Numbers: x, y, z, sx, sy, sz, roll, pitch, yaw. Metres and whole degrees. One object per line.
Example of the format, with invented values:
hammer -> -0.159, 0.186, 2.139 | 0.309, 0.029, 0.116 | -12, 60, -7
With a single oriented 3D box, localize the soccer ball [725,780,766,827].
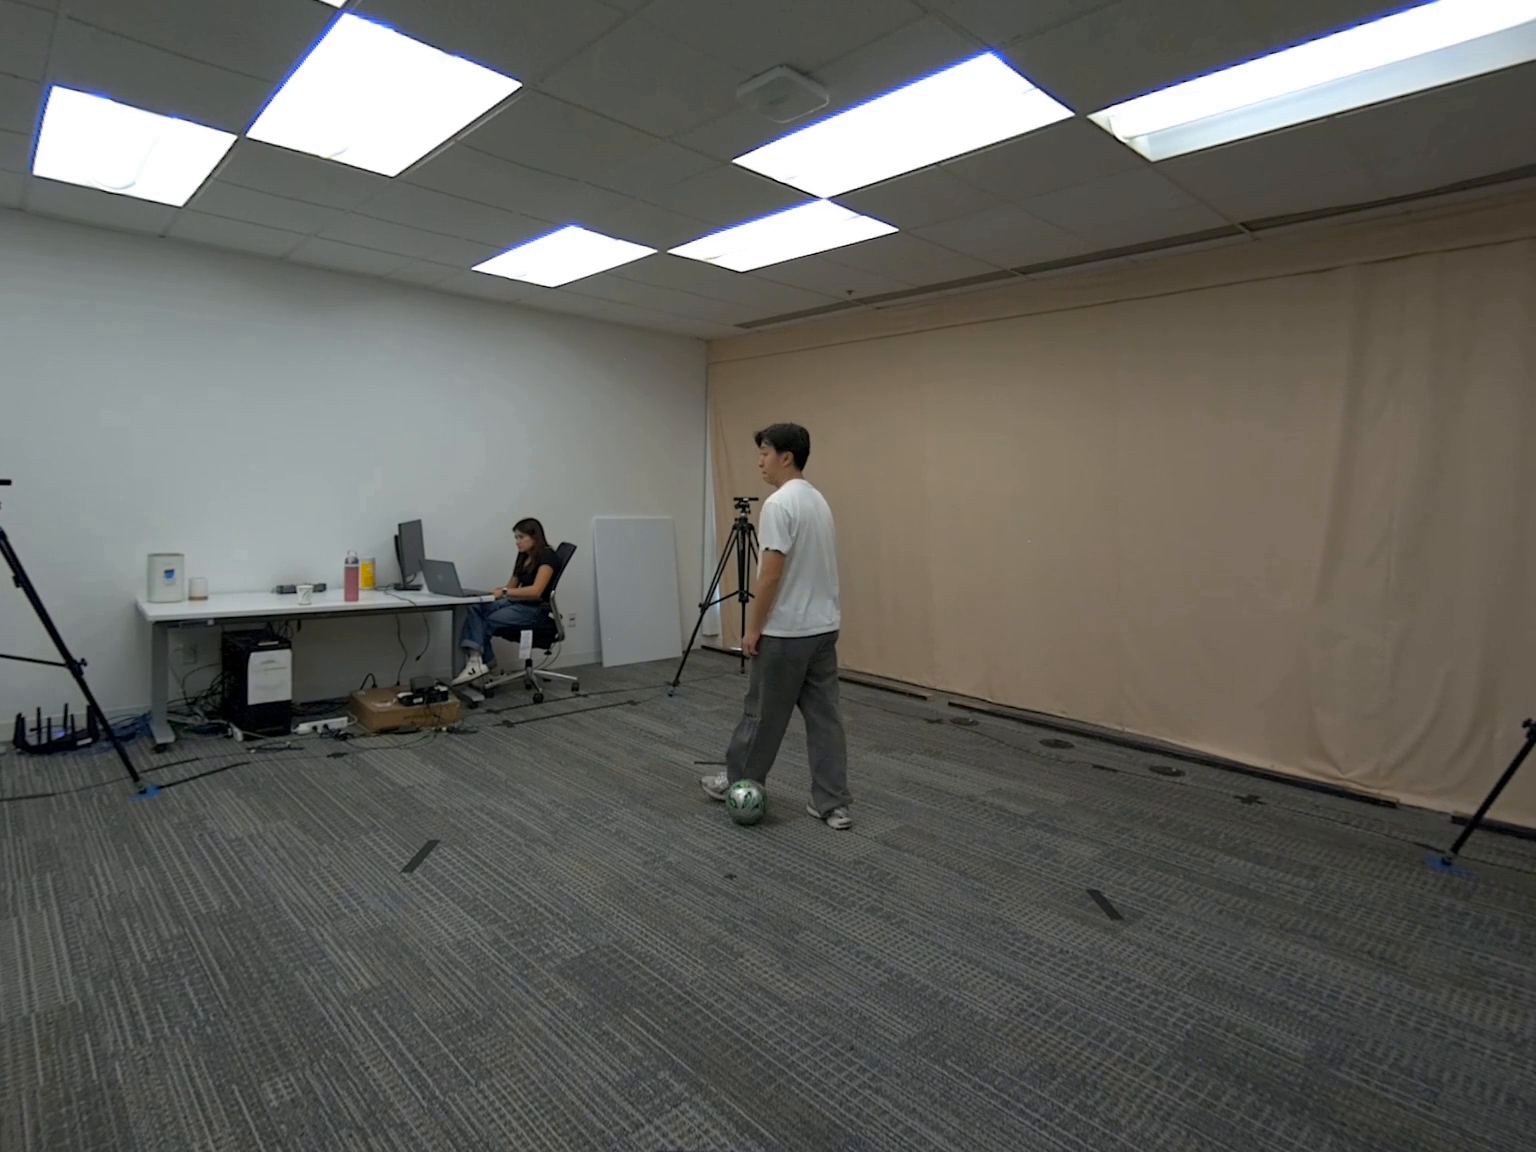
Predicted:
soccer ball -> -0.108, 0.974, 3.619 | 0.187, 0.187, 0.188 | 1, 4, -1
